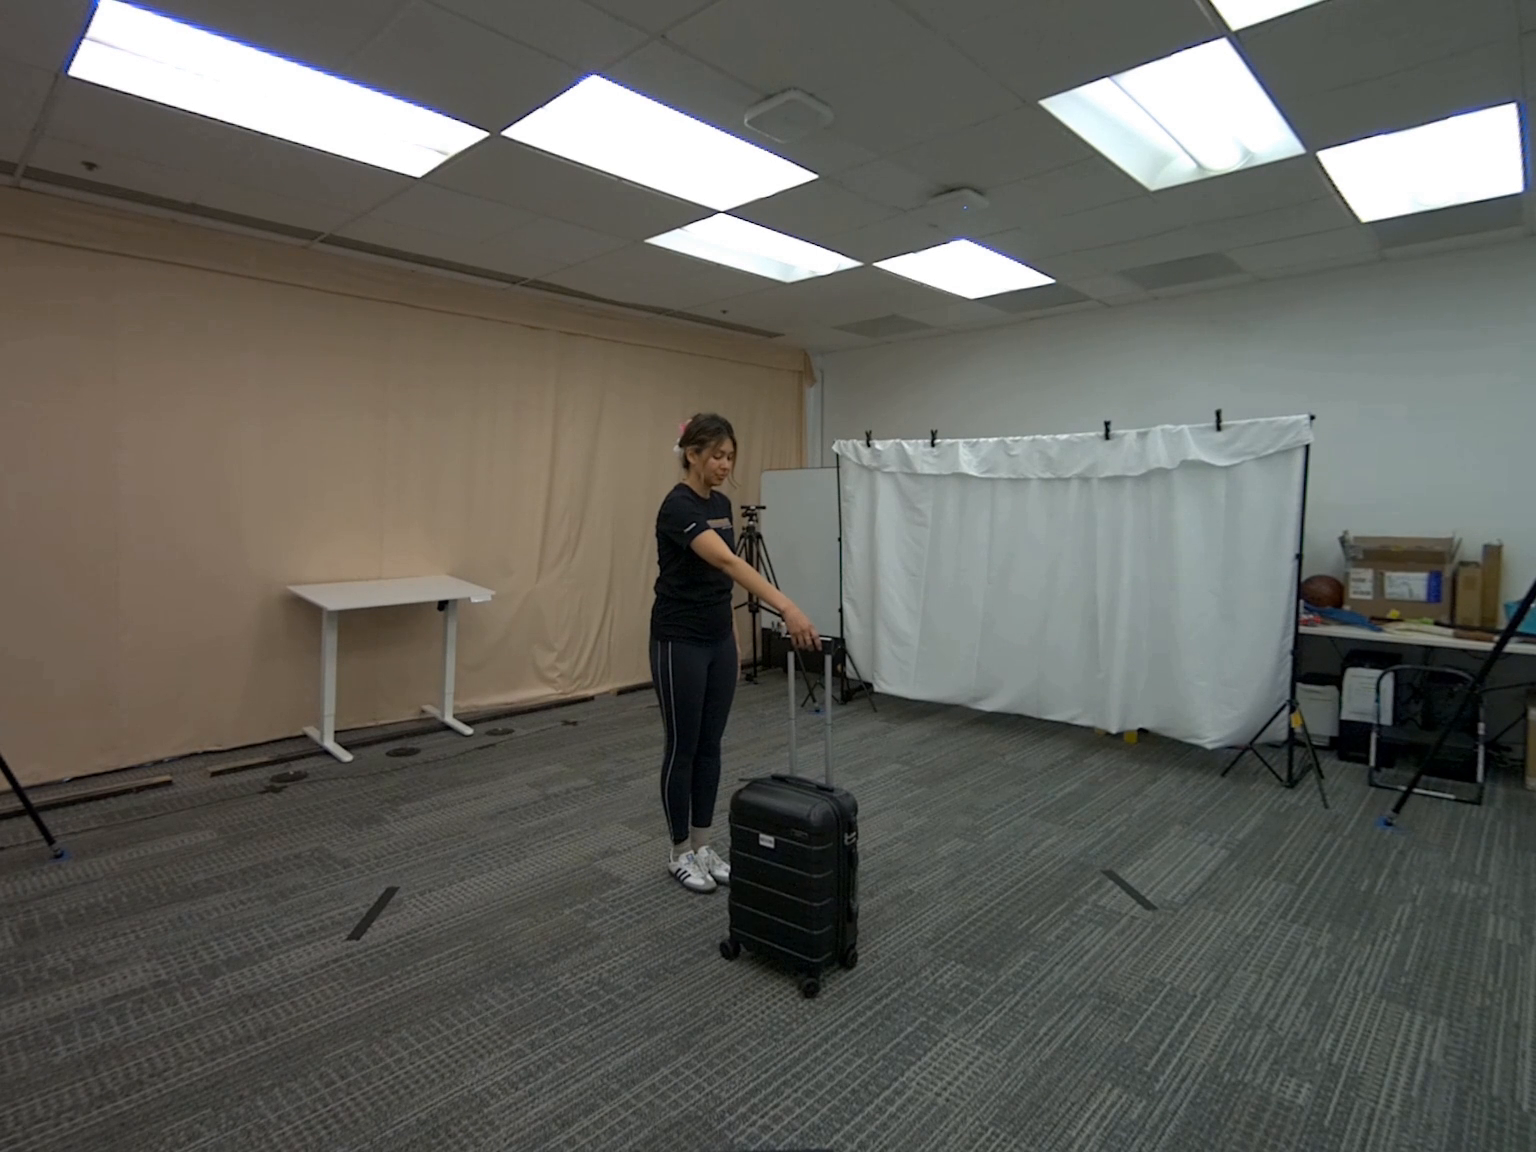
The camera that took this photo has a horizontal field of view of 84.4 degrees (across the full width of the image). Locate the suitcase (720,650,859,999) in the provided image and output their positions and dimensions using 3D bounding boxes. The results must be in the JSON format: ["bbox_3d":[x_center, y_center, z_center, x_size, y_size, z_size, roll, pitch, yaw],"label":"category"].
[{"bbox_3d":[0.079,0.705,2.543,0.396,0.976,0.249,2,4,37],"label":"suitcase"}]
